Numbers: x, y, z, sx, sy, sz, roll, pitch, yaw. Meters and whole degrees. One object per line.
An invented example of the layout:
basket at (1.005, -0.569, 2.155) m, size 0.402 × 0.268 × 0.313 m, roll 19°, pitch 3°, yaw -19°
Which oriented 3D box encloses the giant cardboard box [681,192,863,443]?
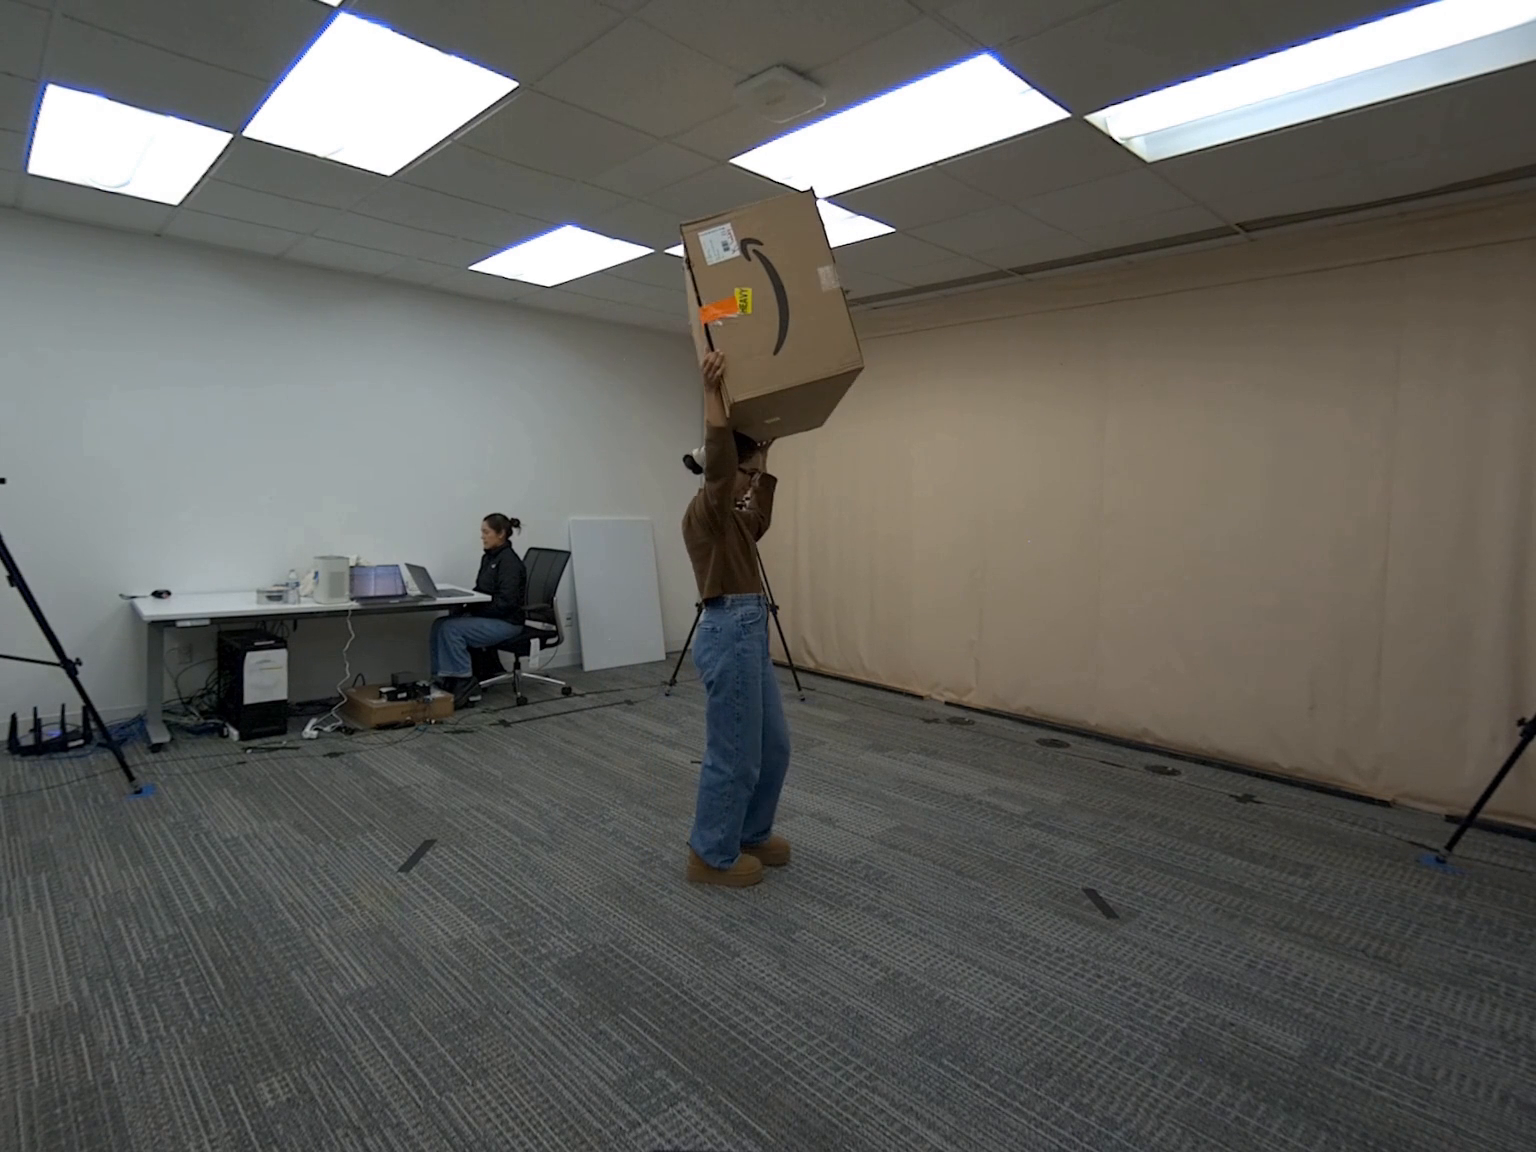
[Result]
giant cardboard box at (-0.032, -0.847, 3.031) m, size 0.426 × 0.578 × 1.026 m, roll -16°, pitch 0°, yaw -3°
